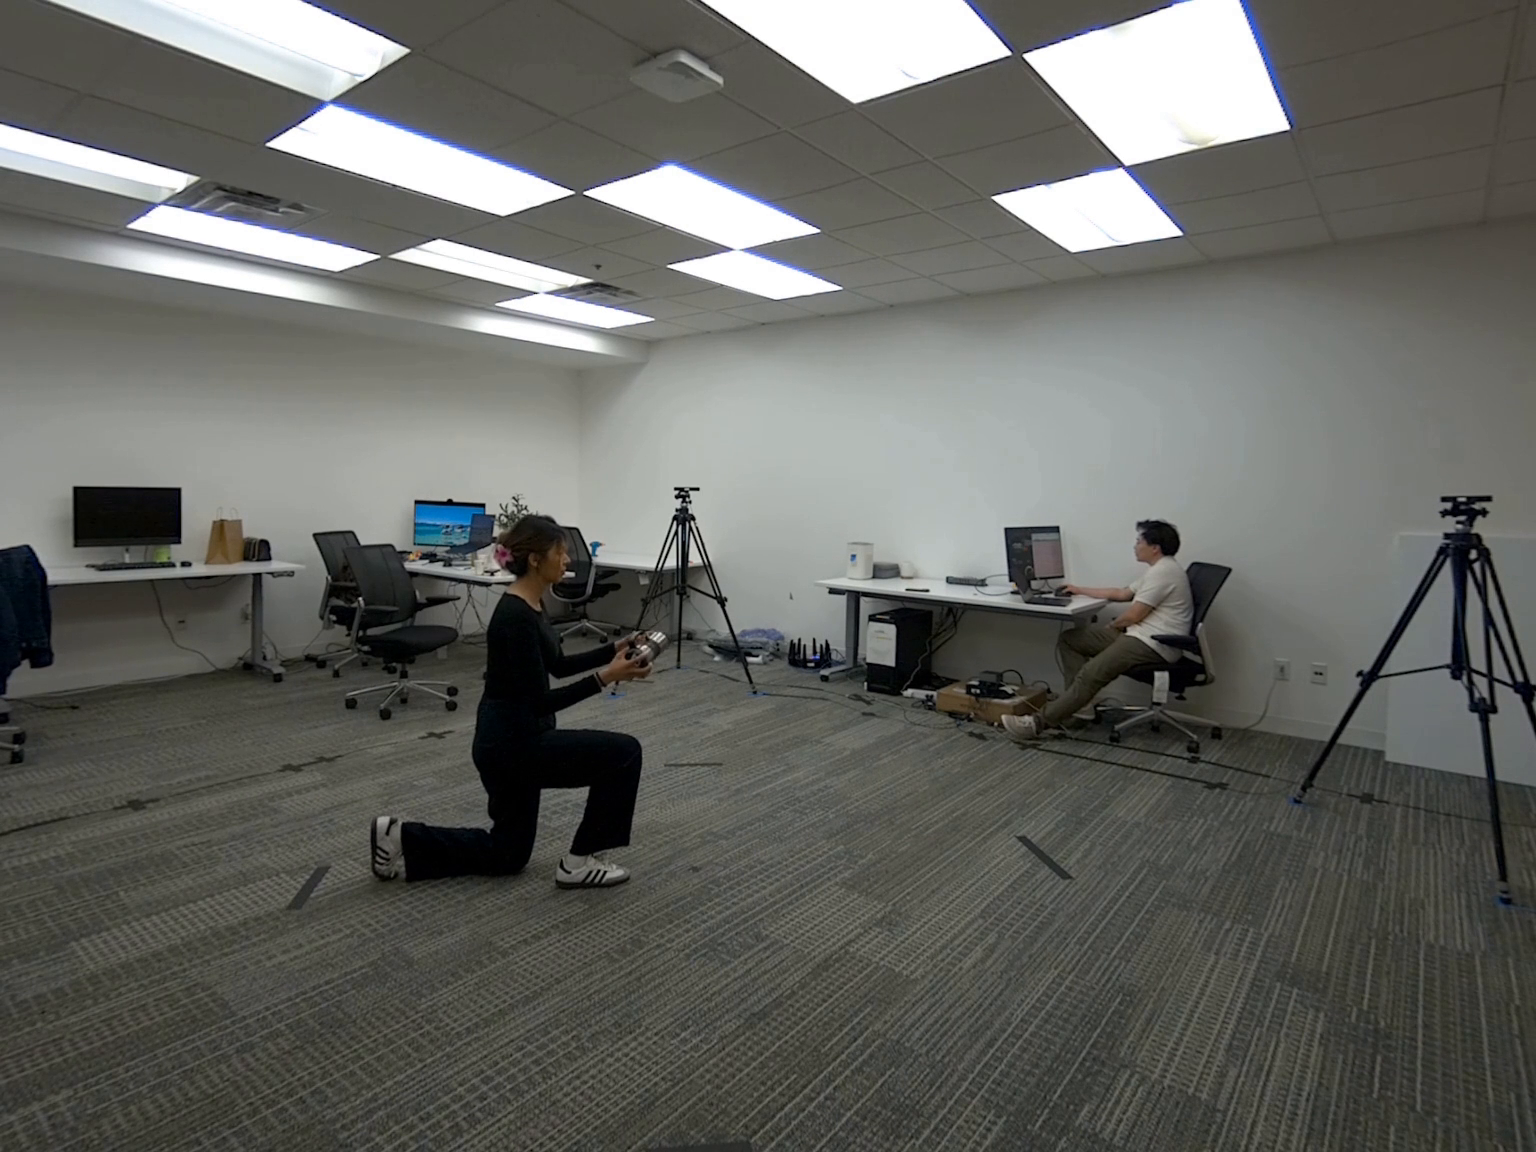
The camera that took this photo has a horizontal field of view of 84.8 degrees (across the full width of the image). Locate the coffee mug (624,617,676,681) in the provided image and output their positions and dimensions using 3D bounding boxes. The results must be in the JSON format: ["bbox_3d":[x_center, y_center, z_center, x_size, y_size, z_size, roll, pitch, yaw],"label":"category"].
[{"bbox_3d":[-0.412,0.244,2.873,0.090,0.120,0.201,17,24,17],"label":"coffee mug"}]
